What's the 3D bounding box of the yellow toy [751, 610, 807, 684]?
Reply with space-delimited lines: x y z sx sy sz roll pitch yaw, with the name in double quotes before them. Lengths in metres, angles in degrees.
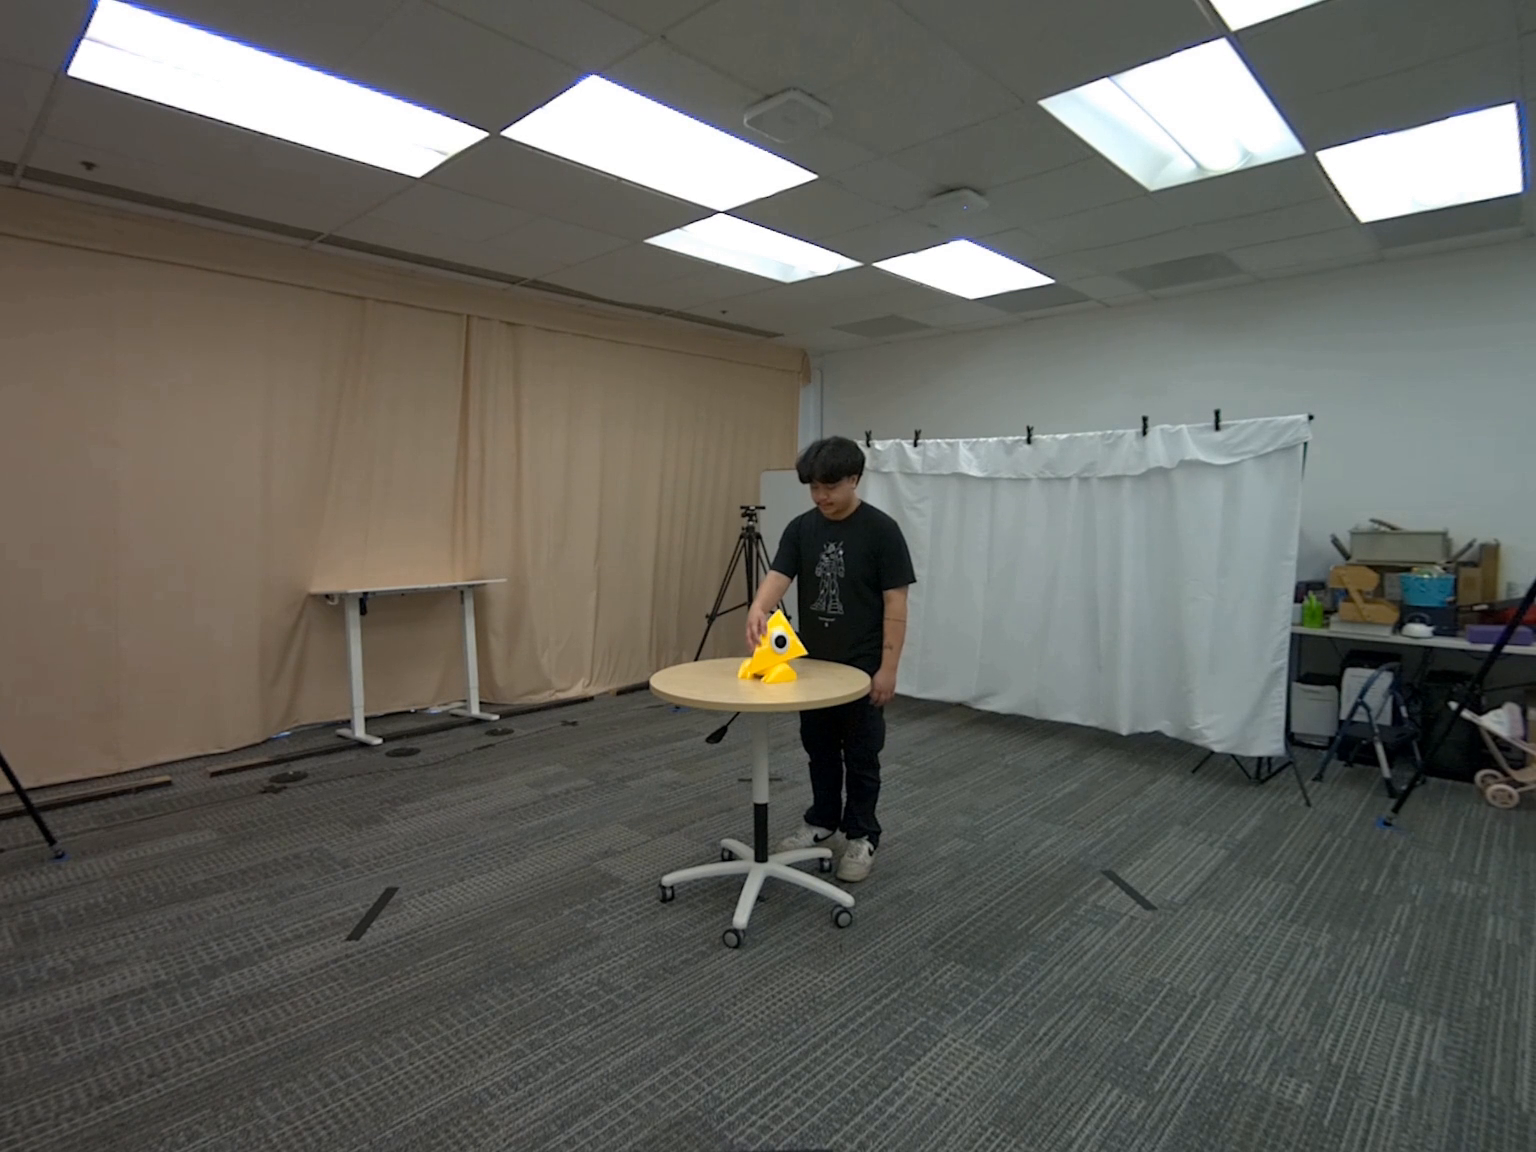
"yellow toy" 0.007 0.240 2.944 0.211 0.230 0.187 3 5 41
